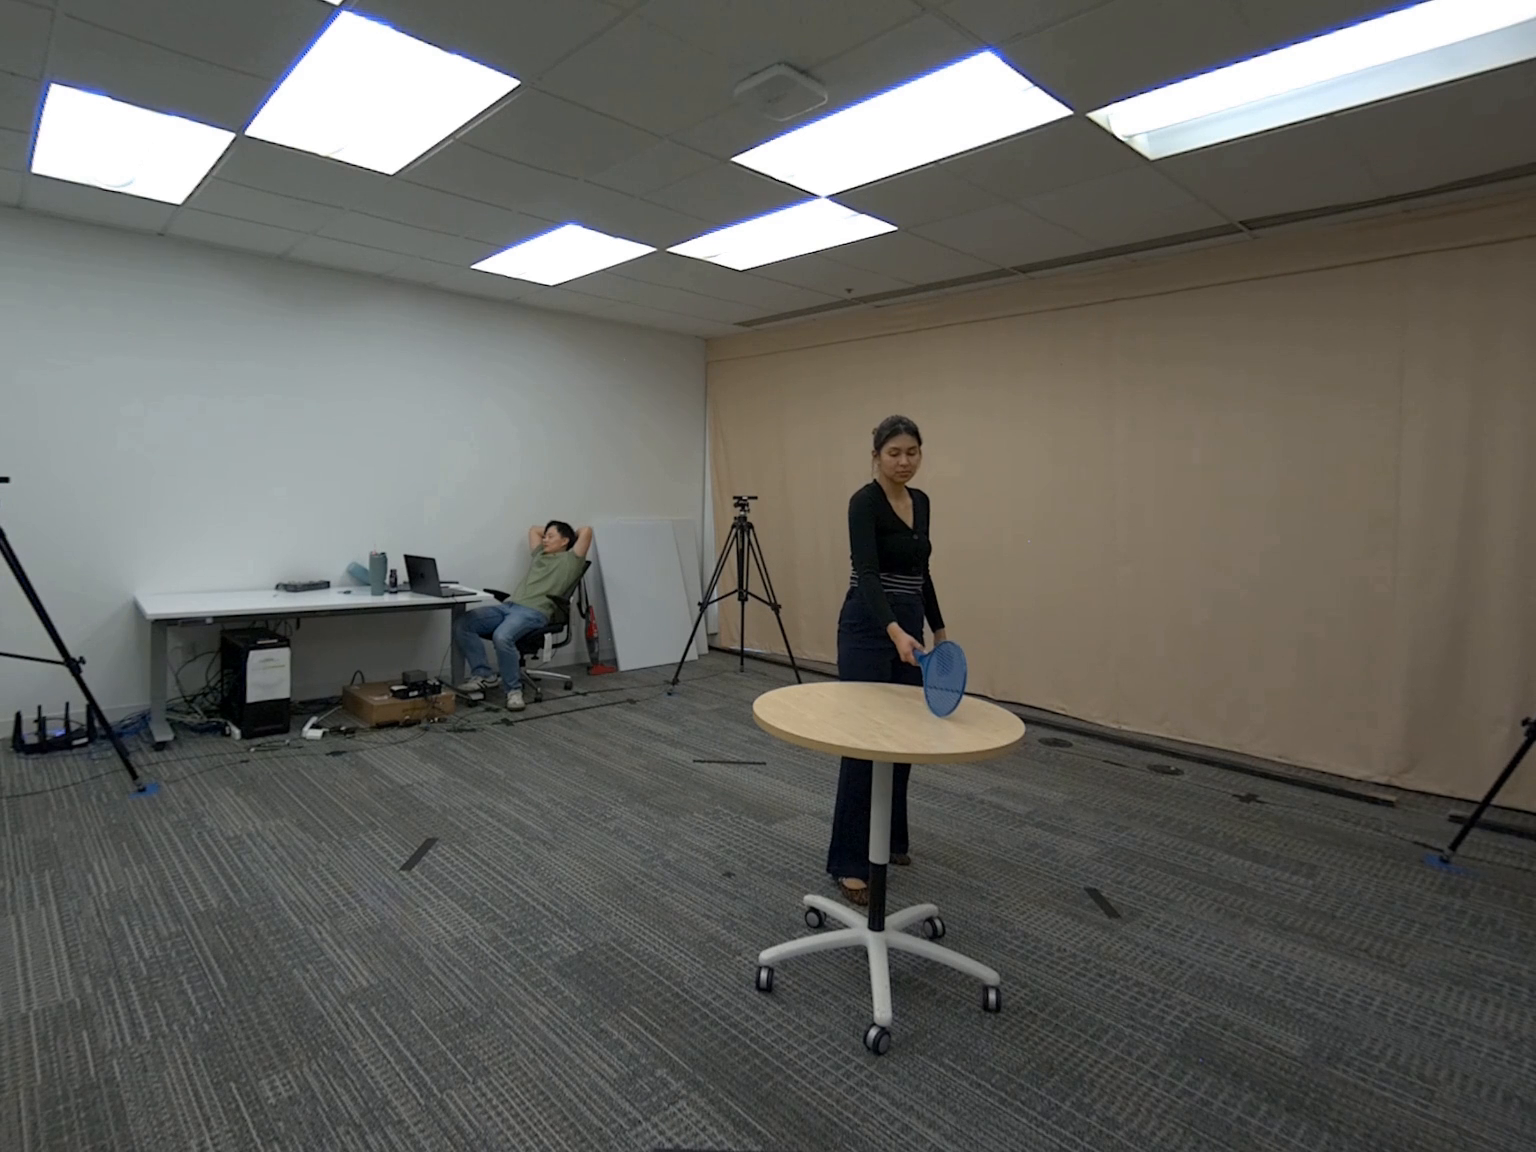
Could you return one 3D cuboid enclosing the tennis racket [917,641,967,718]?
[{"bbox_3d":[0.469,0.274,2.510,0.031,0.212,0.437,10,12,-5],"label":"tennis racket"}]
